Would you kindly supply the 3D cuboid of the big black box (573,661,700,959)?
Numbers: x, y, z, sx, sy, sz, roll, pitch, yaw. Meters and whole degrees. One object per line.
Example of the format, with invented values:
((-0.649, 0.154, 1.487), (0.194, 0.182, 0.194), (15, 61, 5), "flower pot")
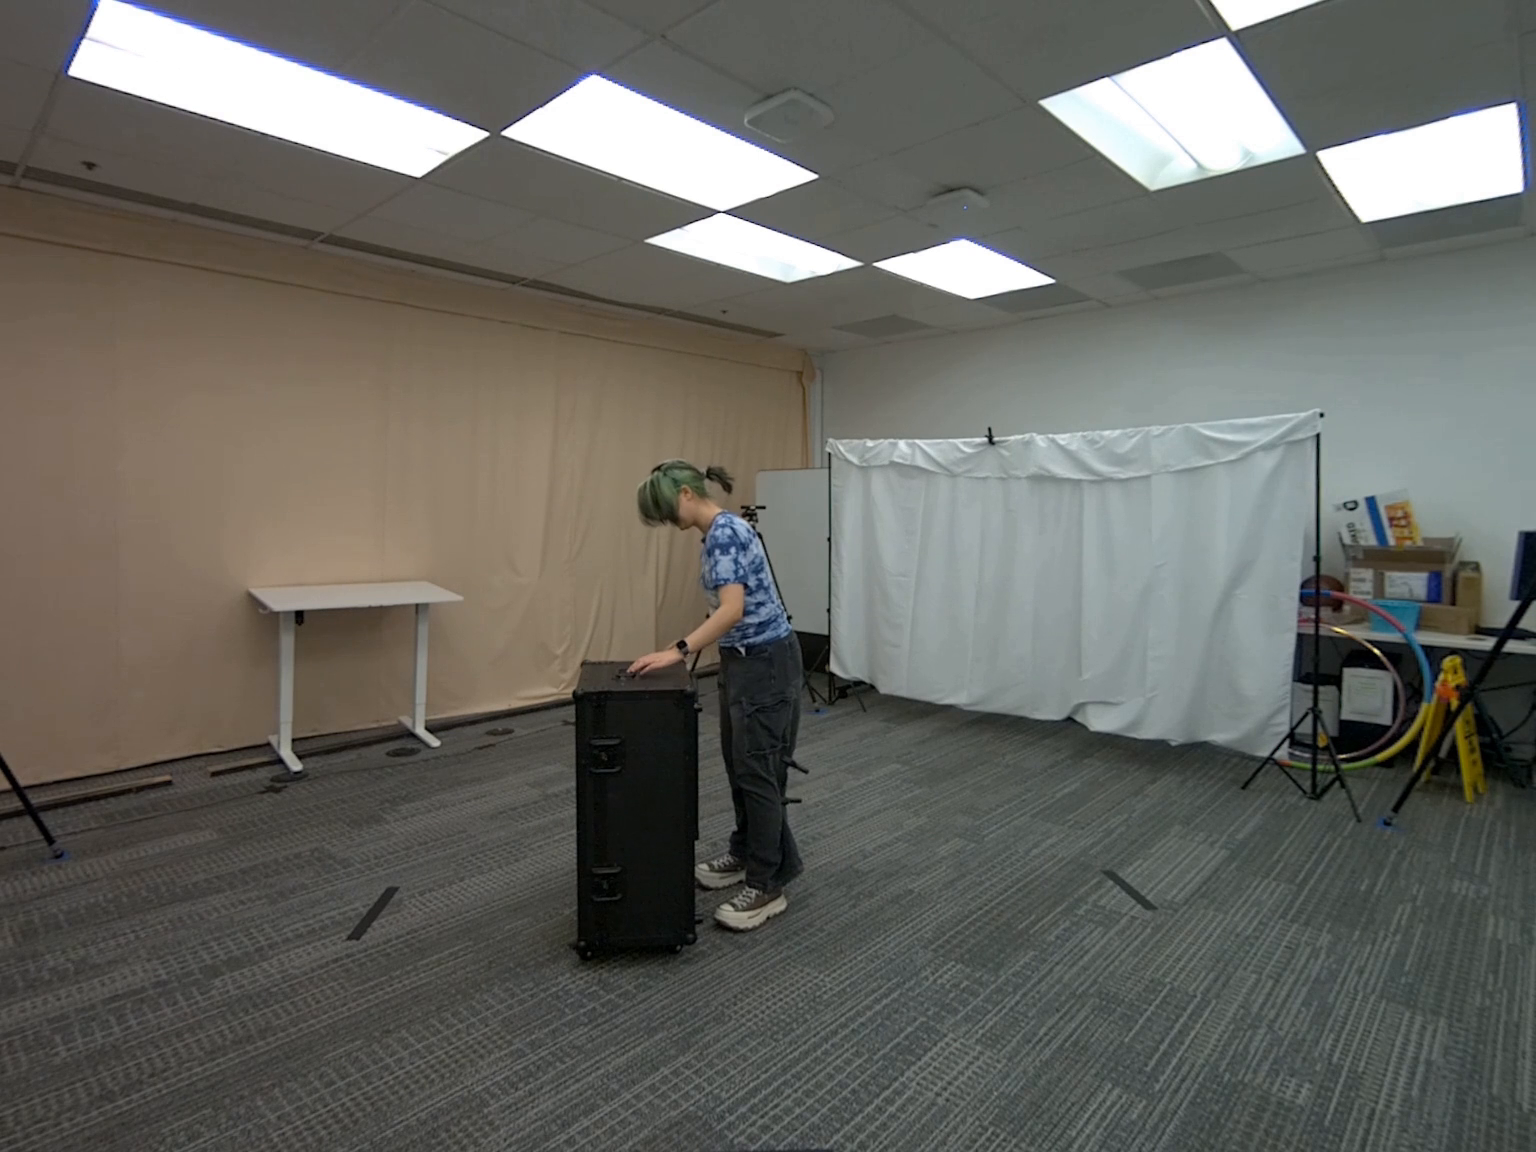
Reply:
((-0.429, 0.749, 2.740), (0.394, 0.860, 0.525), (0, 2, -7), "big black box")
